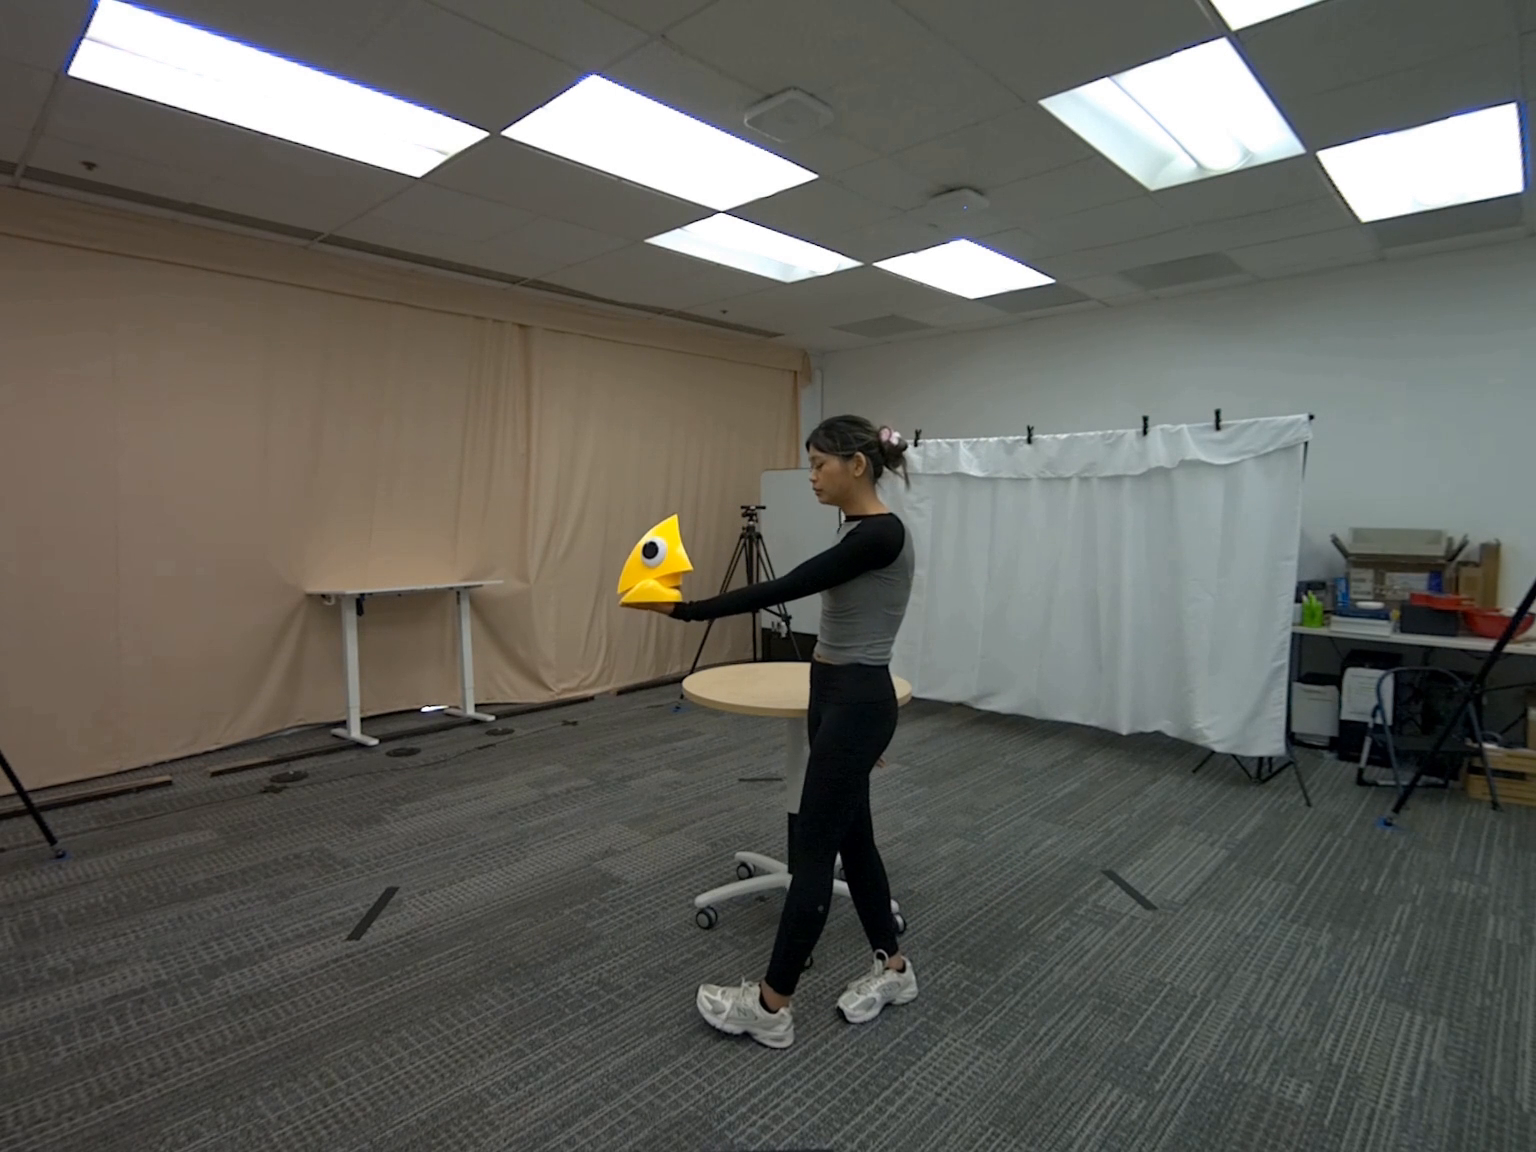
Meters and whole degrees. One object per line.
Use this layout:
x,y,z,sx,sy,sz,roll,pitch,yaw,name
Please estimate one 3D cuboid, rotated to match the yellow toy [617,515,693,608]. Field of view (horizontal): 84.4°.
-0.296,-0.043,2.187,0.191,0.231,0.206,-1,-4,-10,yellow toy
